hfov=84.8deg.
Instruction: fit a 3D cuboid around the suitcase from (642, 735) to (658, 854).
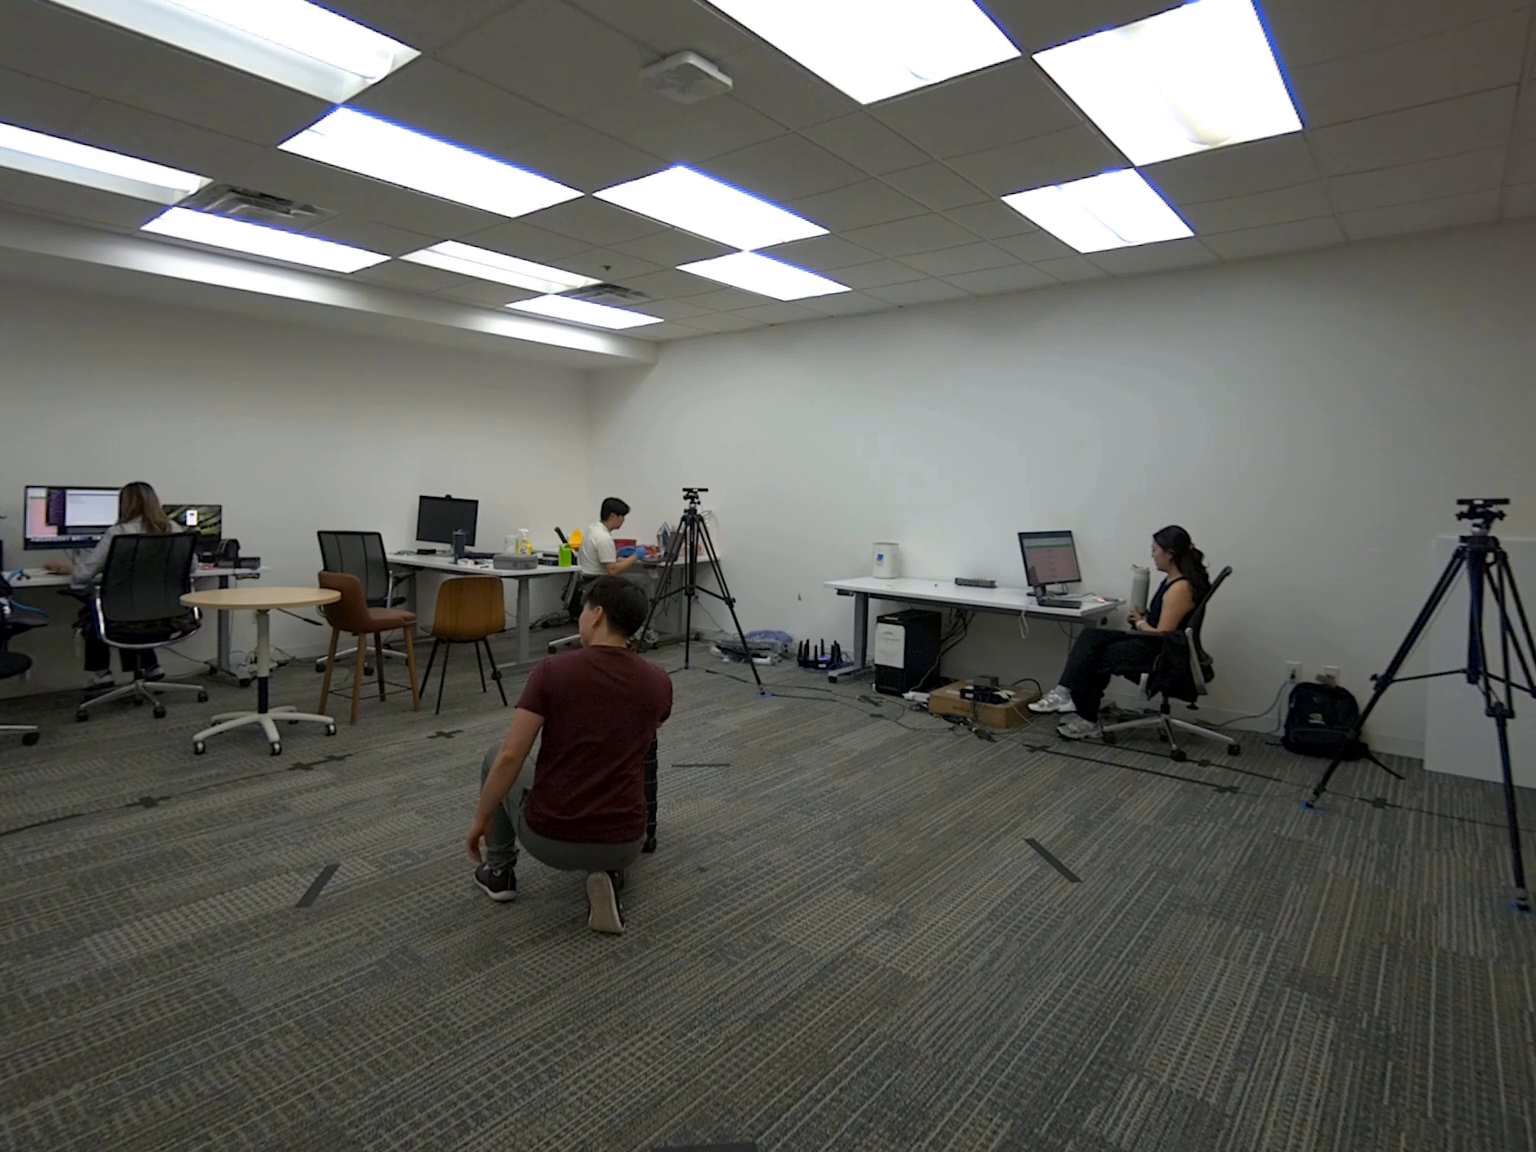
[{"bbox_3d":[-0.622,0.562,3.295,0.376,0.975,0.263,-1,4,-21],"label":"suitcase"}]
